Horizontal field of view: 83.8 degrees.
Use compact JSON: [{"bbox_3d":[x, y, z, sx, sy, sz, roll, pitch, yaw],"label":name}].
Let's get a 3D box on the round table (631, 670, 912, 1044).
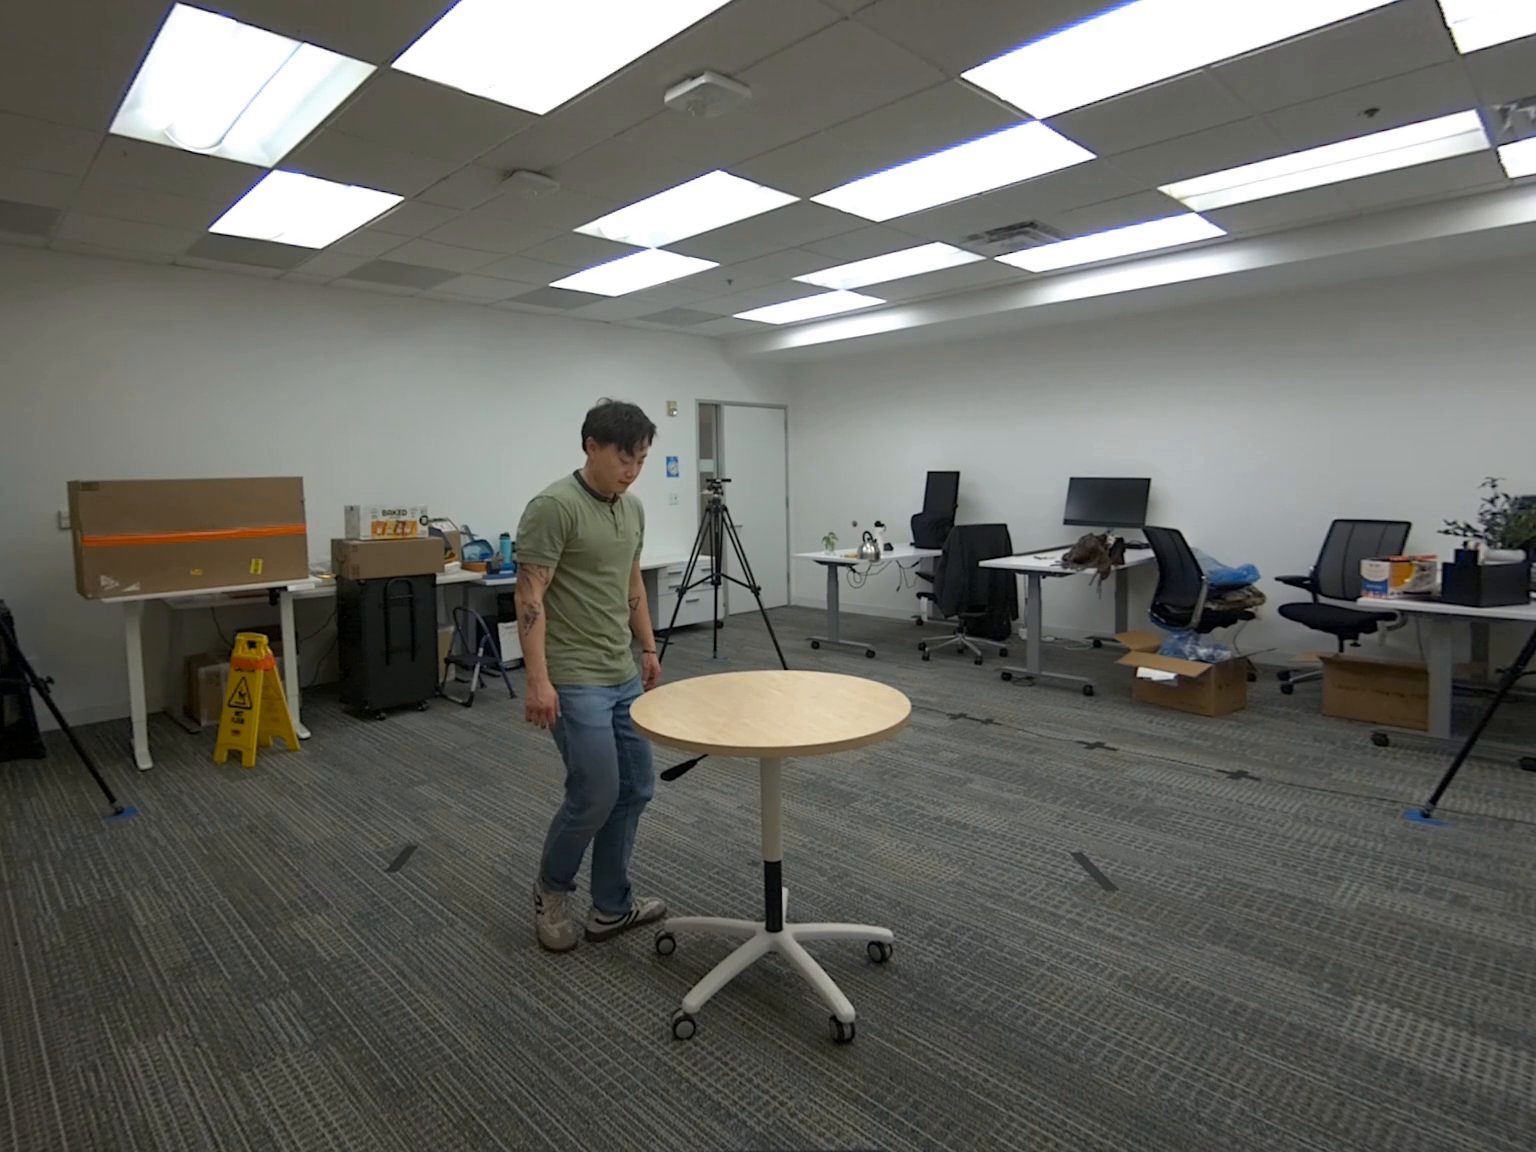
[{"bbox_3d":[0.015,0.739,2.379,0.763,0.790,0.768,-2,5,-2],"label":"round table"}]
